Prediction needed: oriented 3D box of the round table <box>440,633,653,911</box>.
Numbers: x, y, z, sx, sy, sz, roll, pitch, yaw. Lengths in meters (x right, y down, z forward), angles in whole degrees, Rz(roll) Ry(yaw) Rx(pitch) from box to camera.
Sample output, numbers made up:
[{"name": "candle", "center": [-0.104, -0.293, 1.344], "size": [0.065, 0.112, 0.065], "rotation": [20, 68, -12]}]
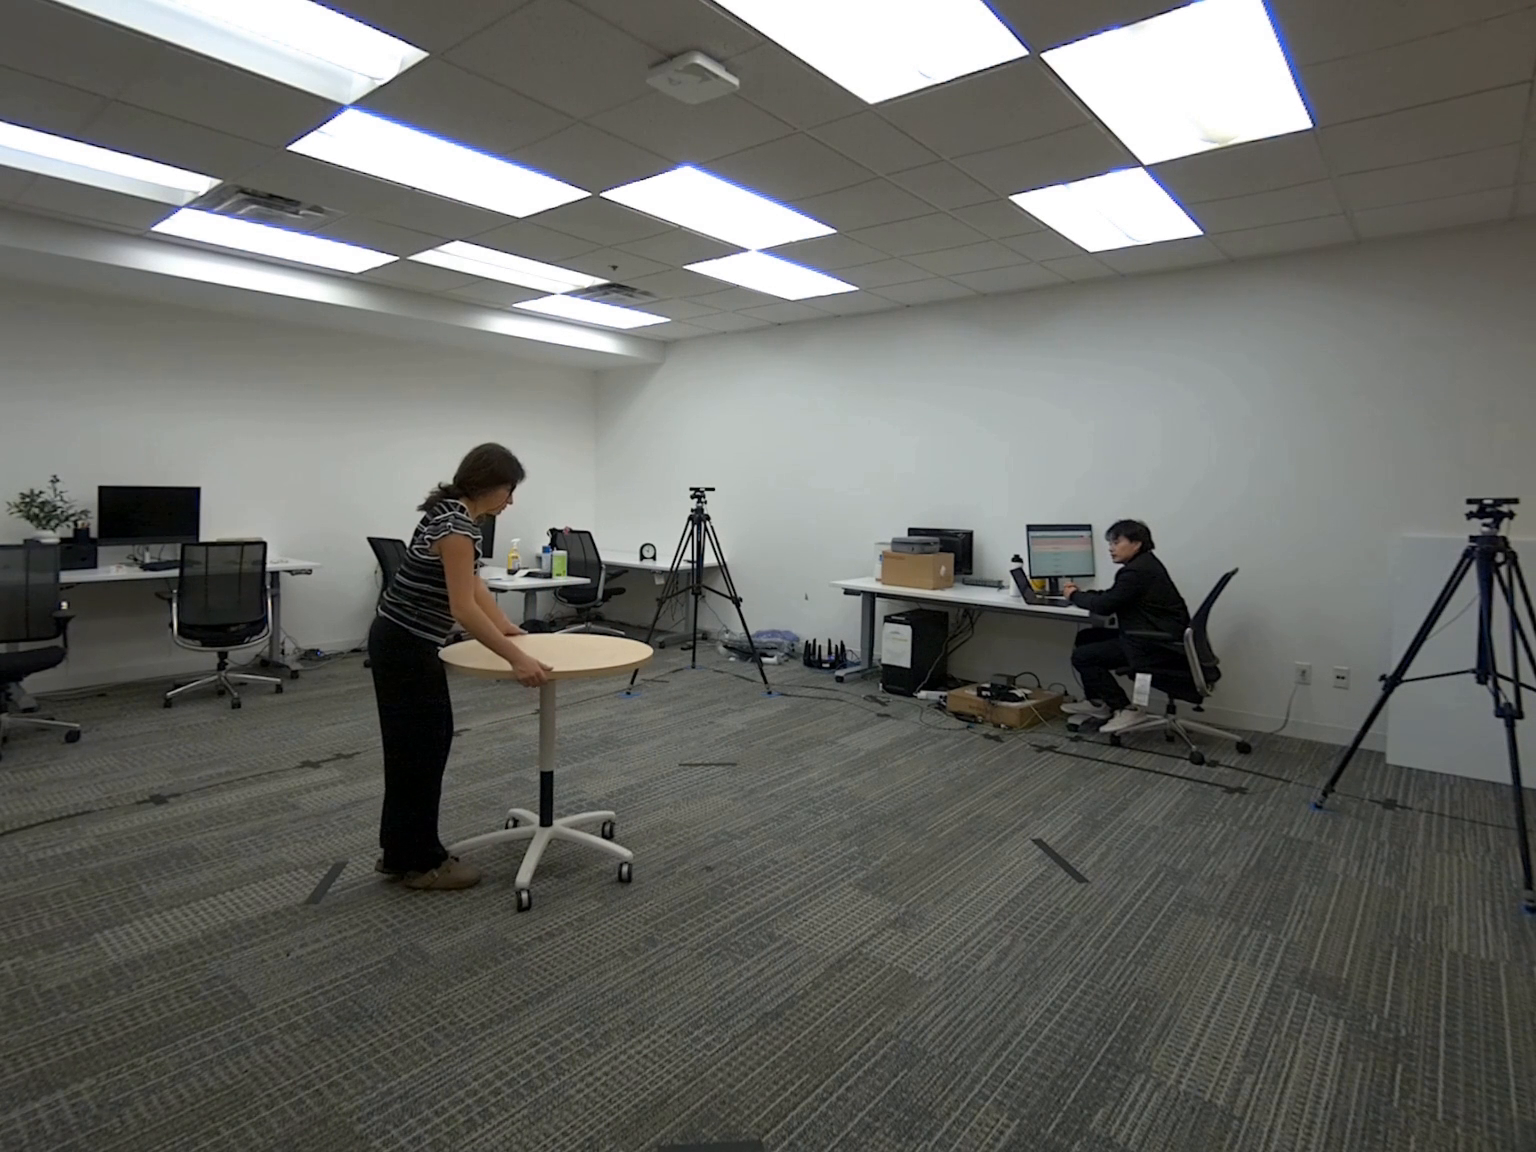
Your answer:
[{"name": "round table", "center": [-0.813, 0.667, 3.105], "size": [0.763, 0.792, 0.767], "rotation": [1, 4, -2]}]
